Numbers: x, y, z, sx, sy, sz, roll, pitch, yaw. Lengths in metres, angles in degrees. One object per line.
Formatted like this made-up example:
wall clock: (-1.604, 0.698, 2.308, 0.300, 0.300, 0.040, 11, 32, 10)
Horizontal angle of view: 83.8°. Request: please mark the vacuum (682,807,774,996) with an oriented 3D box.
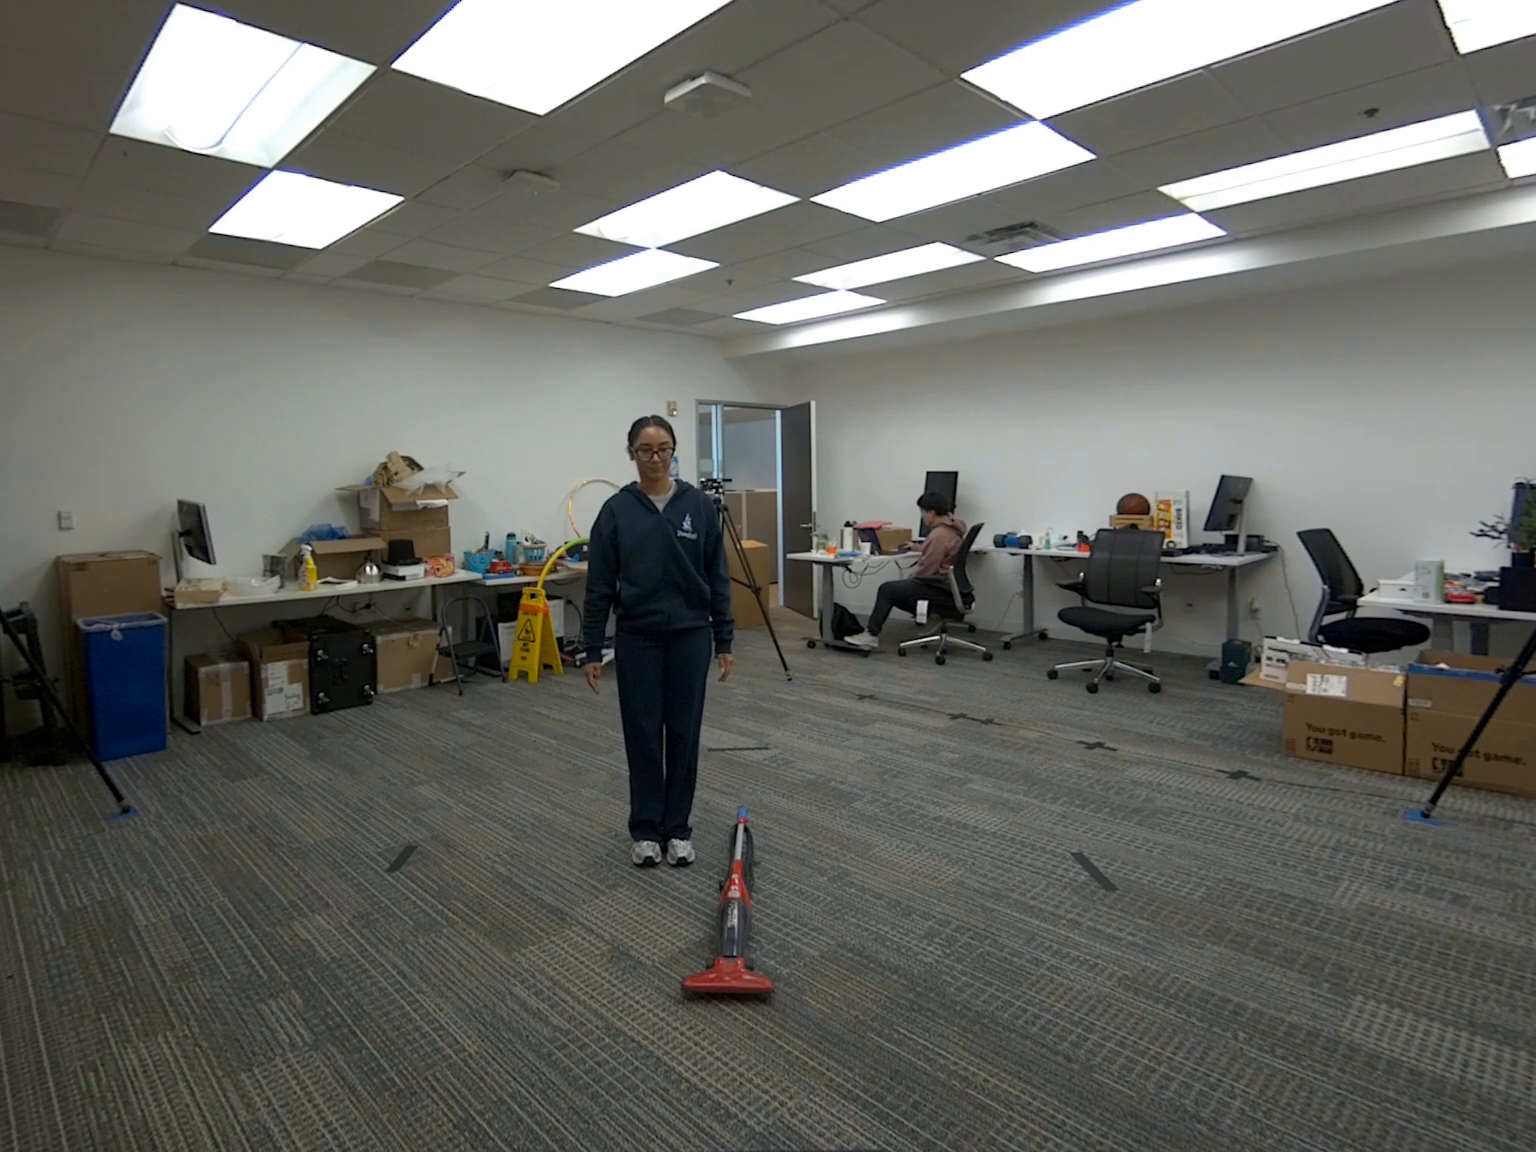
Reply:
vacuum: (-0.095, 1.007, 2.886, 0.253, 0.143, 1.053, -6, 8, 2)
